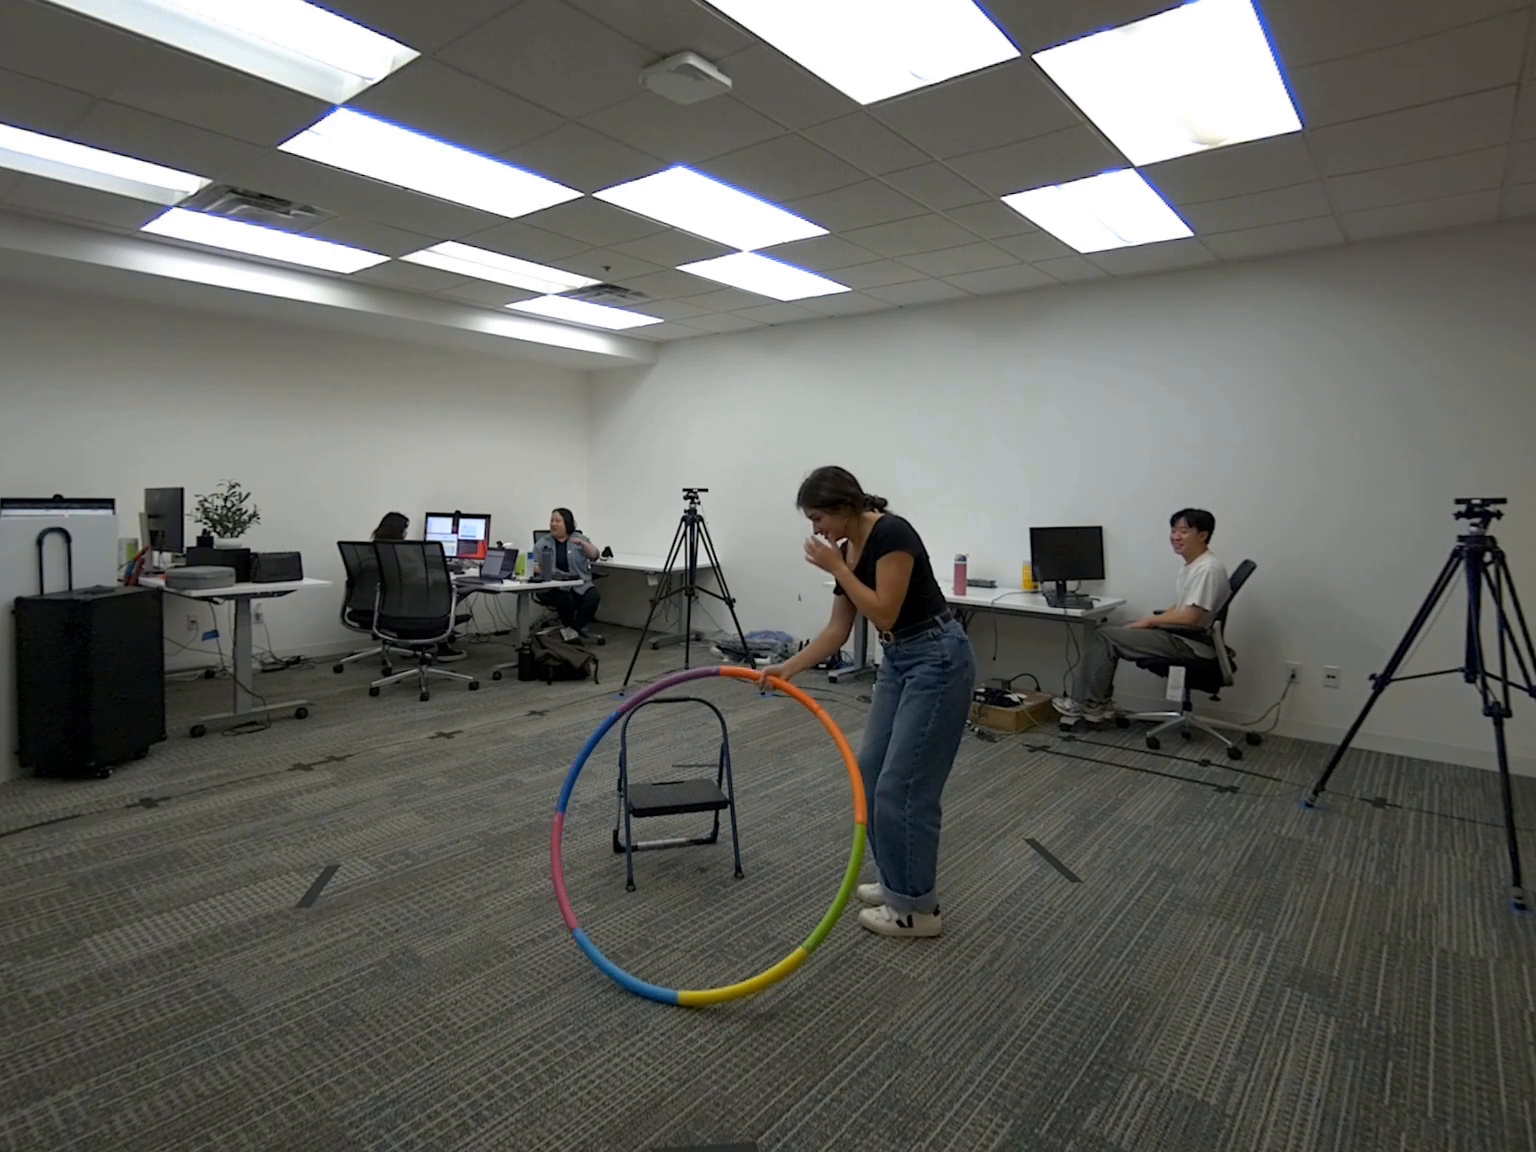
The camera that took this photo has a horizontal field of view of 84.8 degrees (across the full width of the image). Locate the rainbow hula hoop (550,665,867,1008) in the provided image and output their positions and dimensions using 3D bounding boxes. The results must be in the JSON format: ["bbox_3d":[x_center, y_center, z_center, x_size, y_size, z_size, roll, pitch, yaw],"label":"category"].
[{"bbox_3d":[-0.195,0.727,2.560,0.999,0.996,0.034,2,-33,19],"label":"rainbow hula hoop"}]
